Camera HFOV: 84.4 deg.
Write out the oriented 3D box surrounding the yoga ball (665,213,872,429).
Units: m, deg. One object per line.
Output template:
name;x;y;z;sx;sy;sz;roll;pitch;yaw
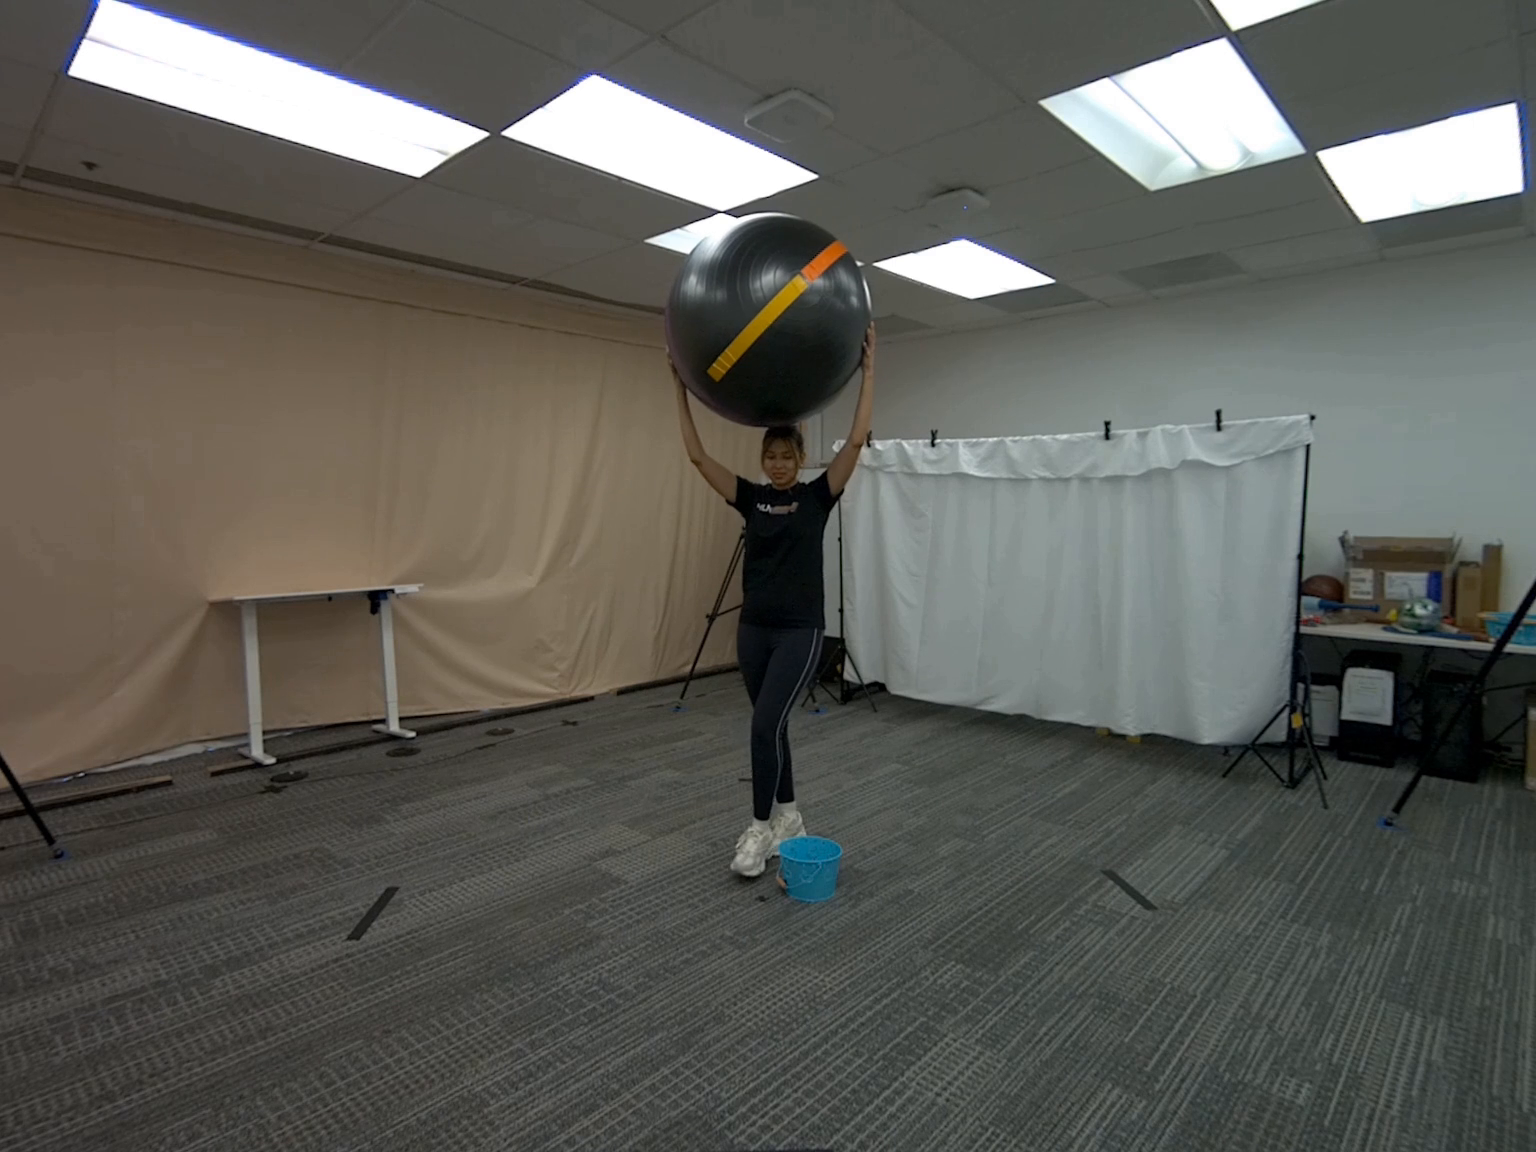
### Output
yoga ball;0.001;-0.923;3.094;0.757;0.756;0.760;0;4;-2
